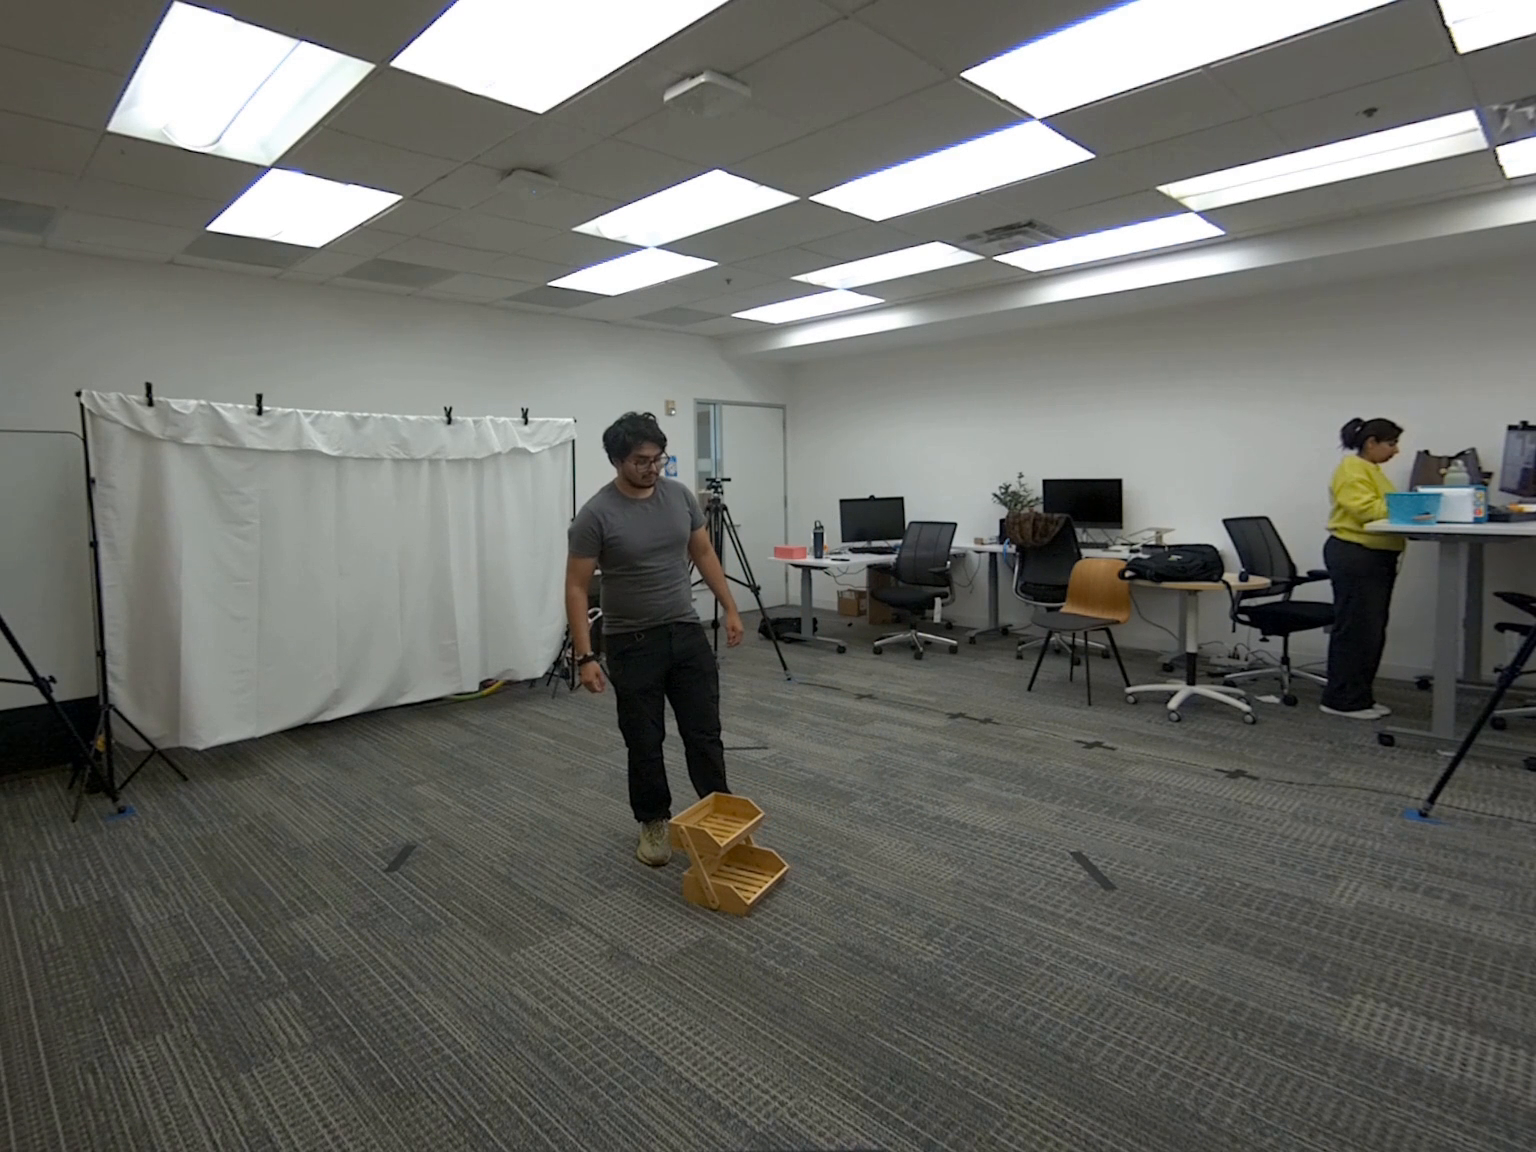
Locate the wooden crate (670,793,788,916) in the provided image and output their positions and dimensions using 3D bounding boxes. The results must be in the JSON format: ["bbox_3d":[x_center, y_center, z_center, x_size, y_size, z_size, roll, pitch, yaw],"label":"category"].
[{"bbox_3d":[-0.122,0.935,2.904,0.310,0.272,0.317,1,5,29],"label":"wooden crate"}]
